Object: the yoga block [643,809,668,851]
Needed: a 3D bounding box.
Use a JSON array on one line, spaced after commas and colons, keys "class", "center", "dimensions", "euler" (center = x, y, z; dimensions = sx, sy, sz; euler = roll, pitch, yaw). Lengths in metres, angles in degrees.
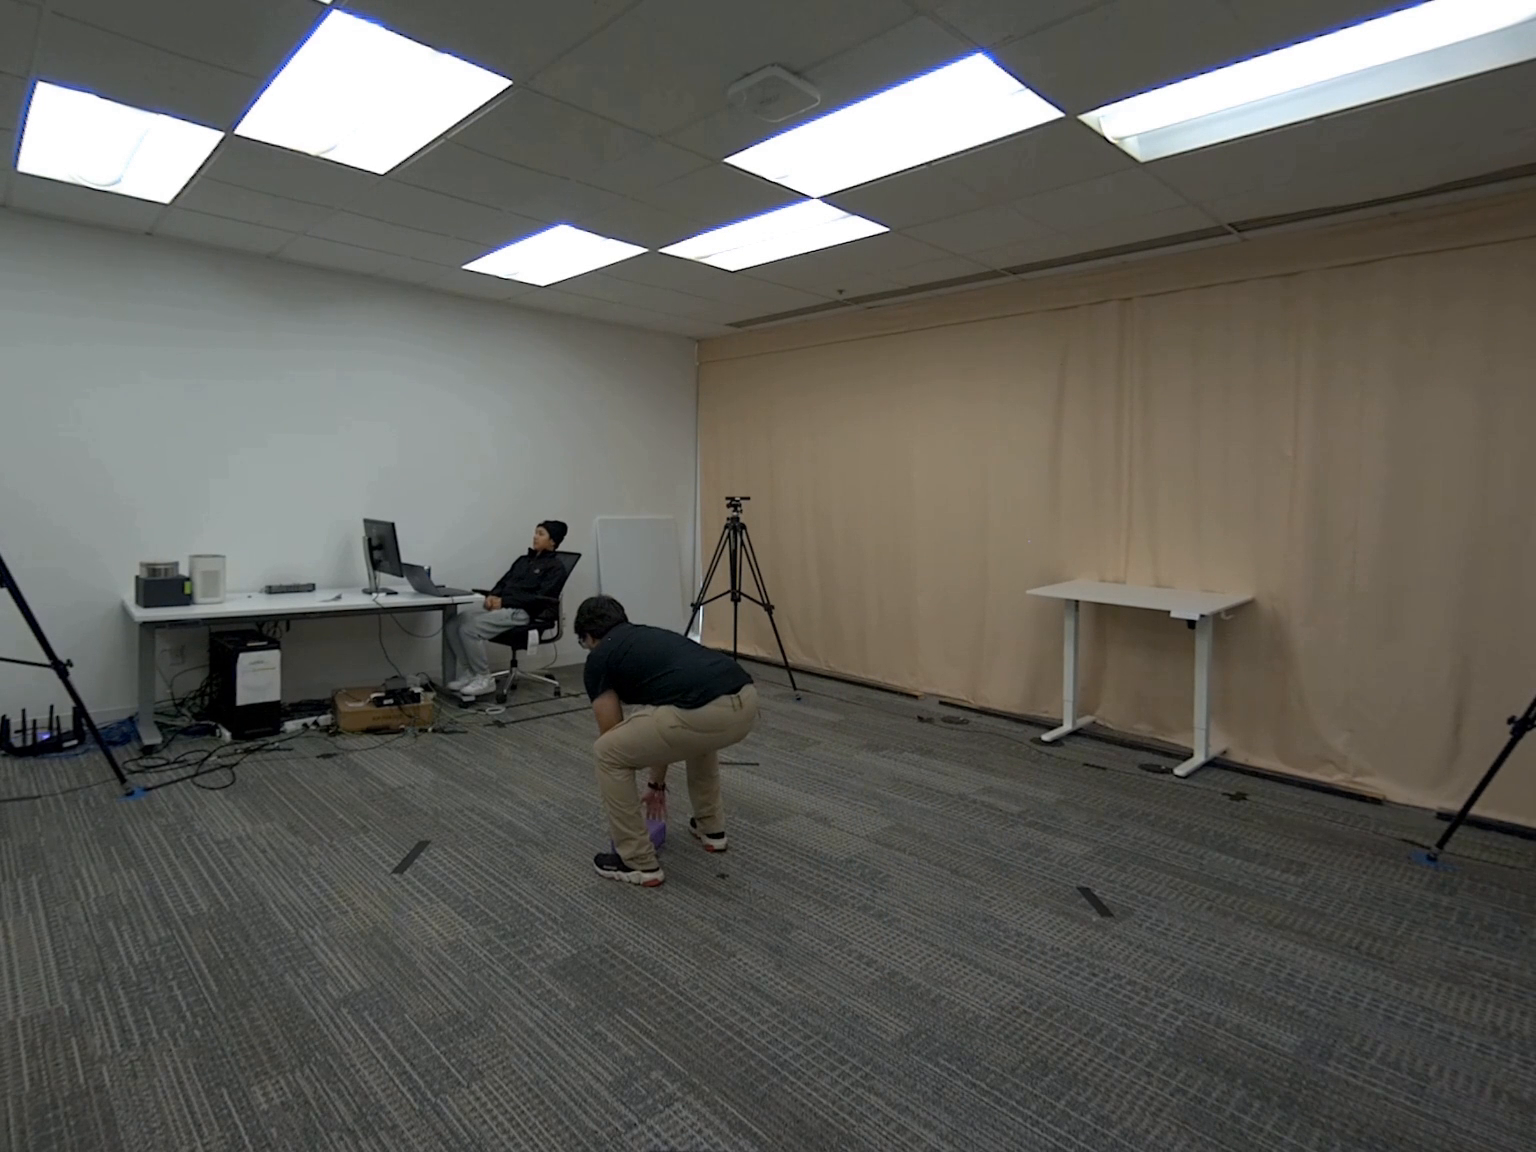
[{"class": "yoga block", "center": [-0.518, 1.038, 3.329], "dimensions": [0.151, 0.076, 0.227], "euler": [3, 5, 14]}]
